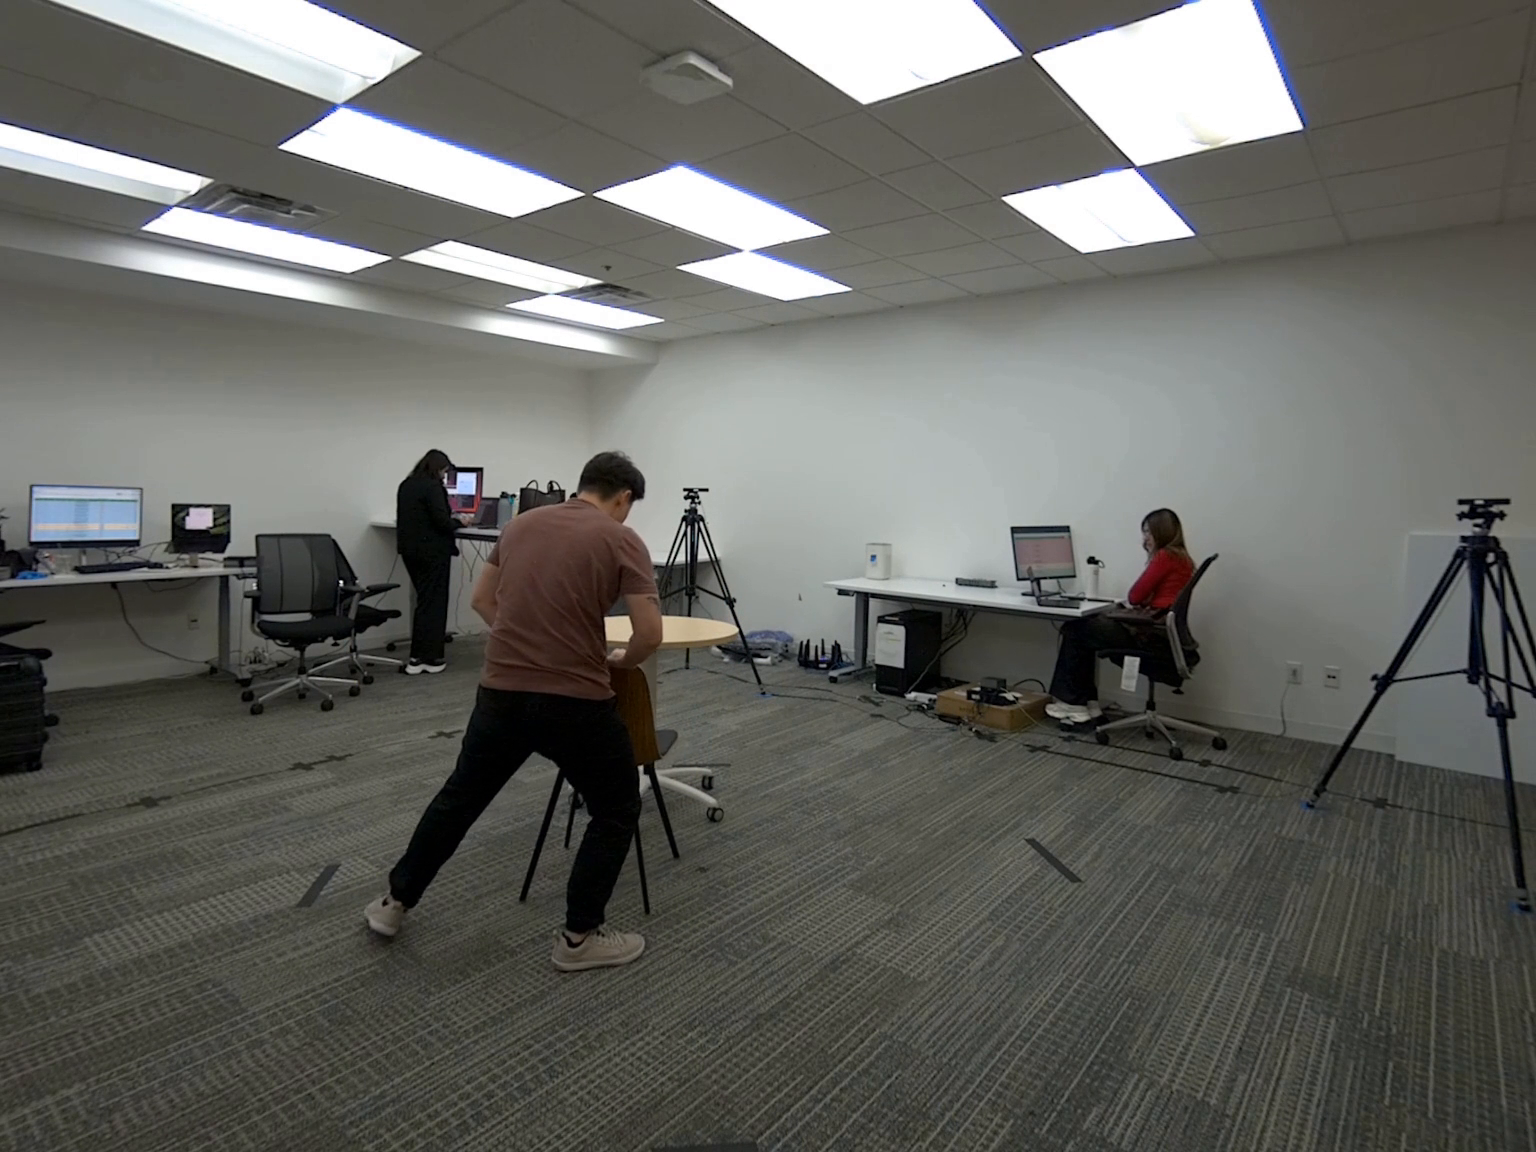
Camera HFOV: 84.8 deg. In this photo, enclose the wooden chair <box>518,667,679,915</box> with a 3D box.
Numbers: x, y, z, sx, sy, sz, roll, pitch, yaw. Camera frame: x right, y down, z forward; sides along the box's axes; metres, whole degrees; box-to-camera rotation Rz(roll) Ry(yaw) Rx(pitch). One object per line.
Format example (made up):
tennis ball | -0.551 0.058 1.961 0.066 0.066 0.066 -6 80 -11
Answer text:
wooden chair | -0.587 0.642 3.009 0.483 0.871 0.521 2 7 9
